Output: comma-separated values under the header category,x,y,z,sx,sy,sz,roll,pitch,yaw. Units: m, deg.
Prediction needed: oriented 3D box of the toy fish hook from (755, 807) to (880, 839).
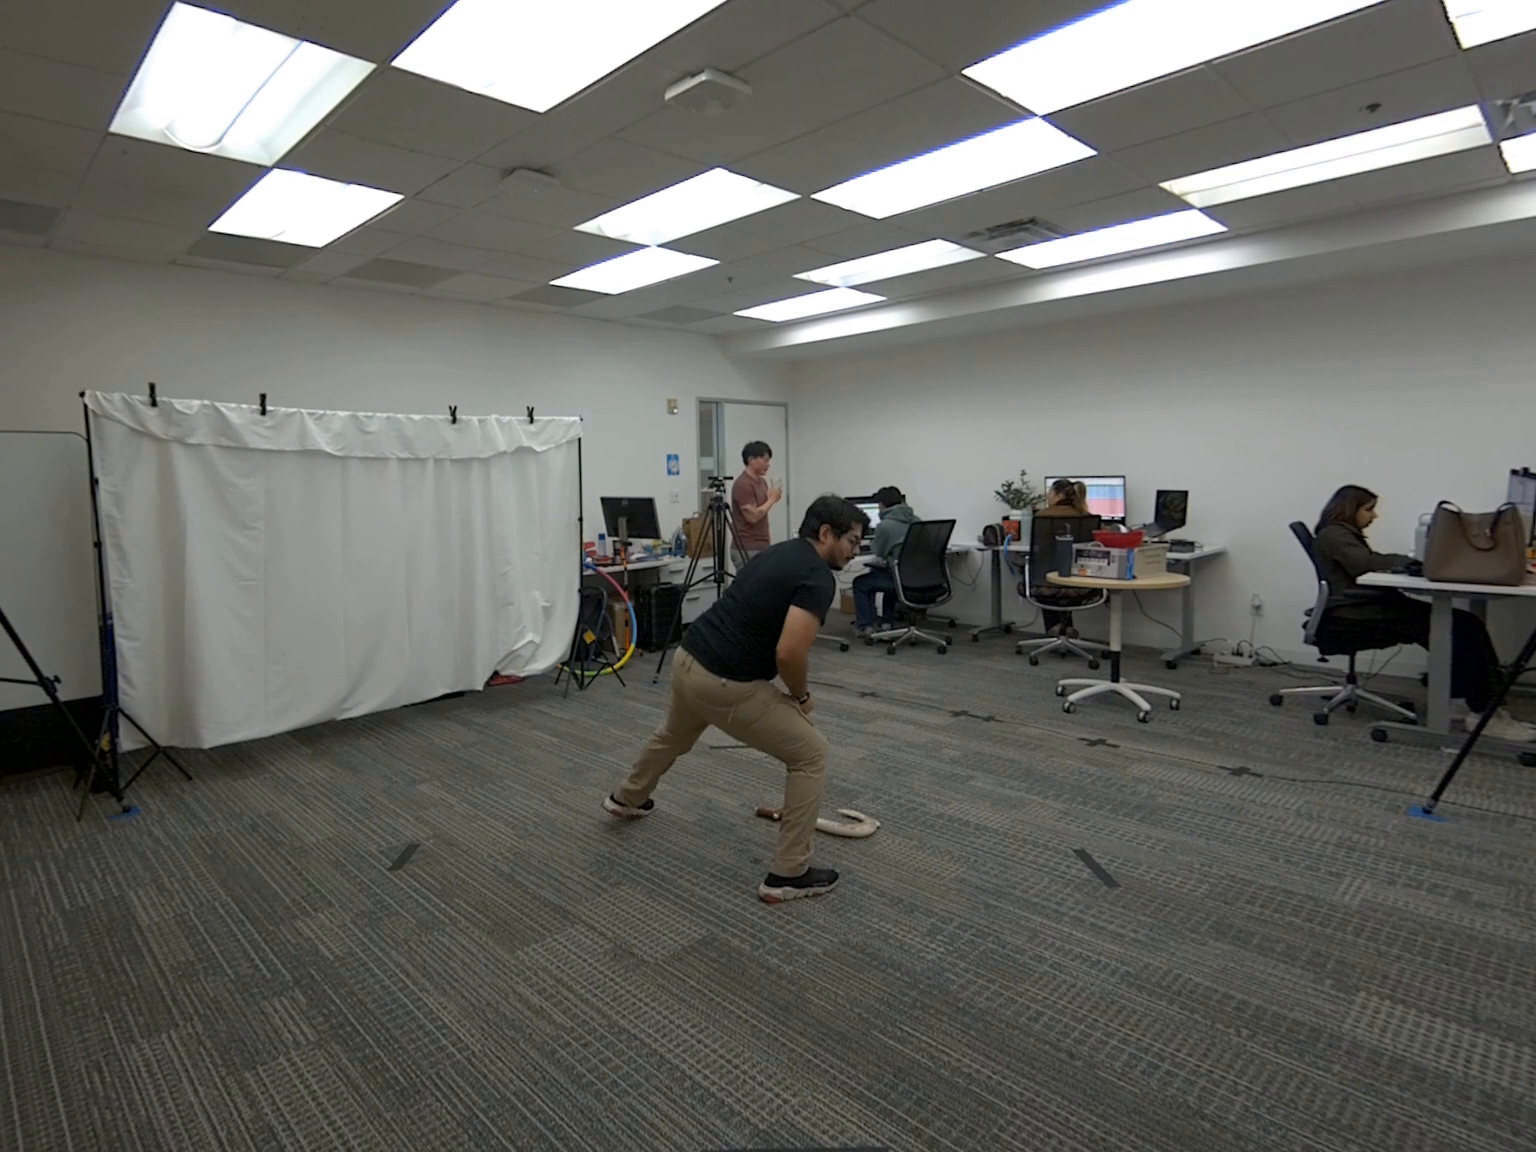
category,x,y,z,sx,sy,sz,roll,pitch,yaw
toy fish hook,0.196,0.971,3.448,0.520,0.048,0.219,4,1,28
